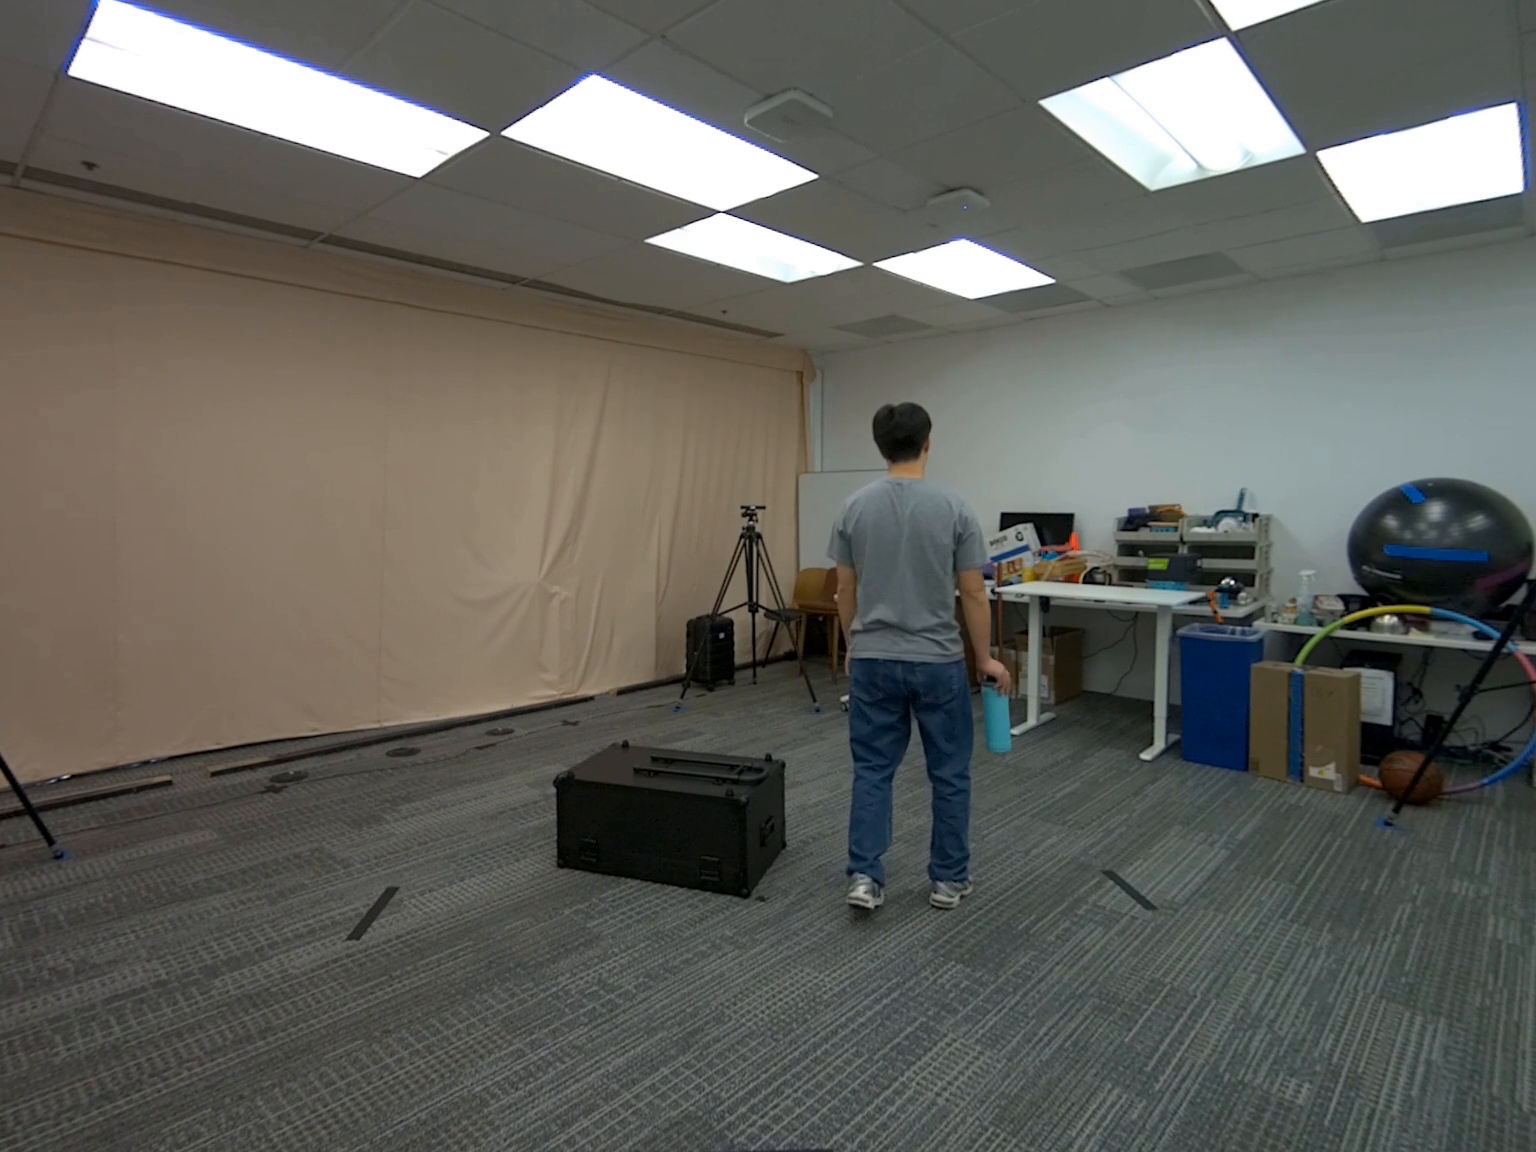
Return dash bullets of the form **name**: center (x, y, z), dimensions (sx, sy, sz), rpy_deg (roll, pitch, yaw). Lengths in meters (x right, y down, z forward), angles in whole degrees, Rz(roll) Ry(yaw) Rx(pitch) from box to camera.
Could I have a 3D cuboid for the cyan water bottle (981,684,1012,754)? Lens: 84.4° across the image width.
- **cyan water bottle**: center (0.813, 0.476, 2.992), dimensions (0.092, 0.283, 0.092), rpy_deg (-4, 0, -2)
